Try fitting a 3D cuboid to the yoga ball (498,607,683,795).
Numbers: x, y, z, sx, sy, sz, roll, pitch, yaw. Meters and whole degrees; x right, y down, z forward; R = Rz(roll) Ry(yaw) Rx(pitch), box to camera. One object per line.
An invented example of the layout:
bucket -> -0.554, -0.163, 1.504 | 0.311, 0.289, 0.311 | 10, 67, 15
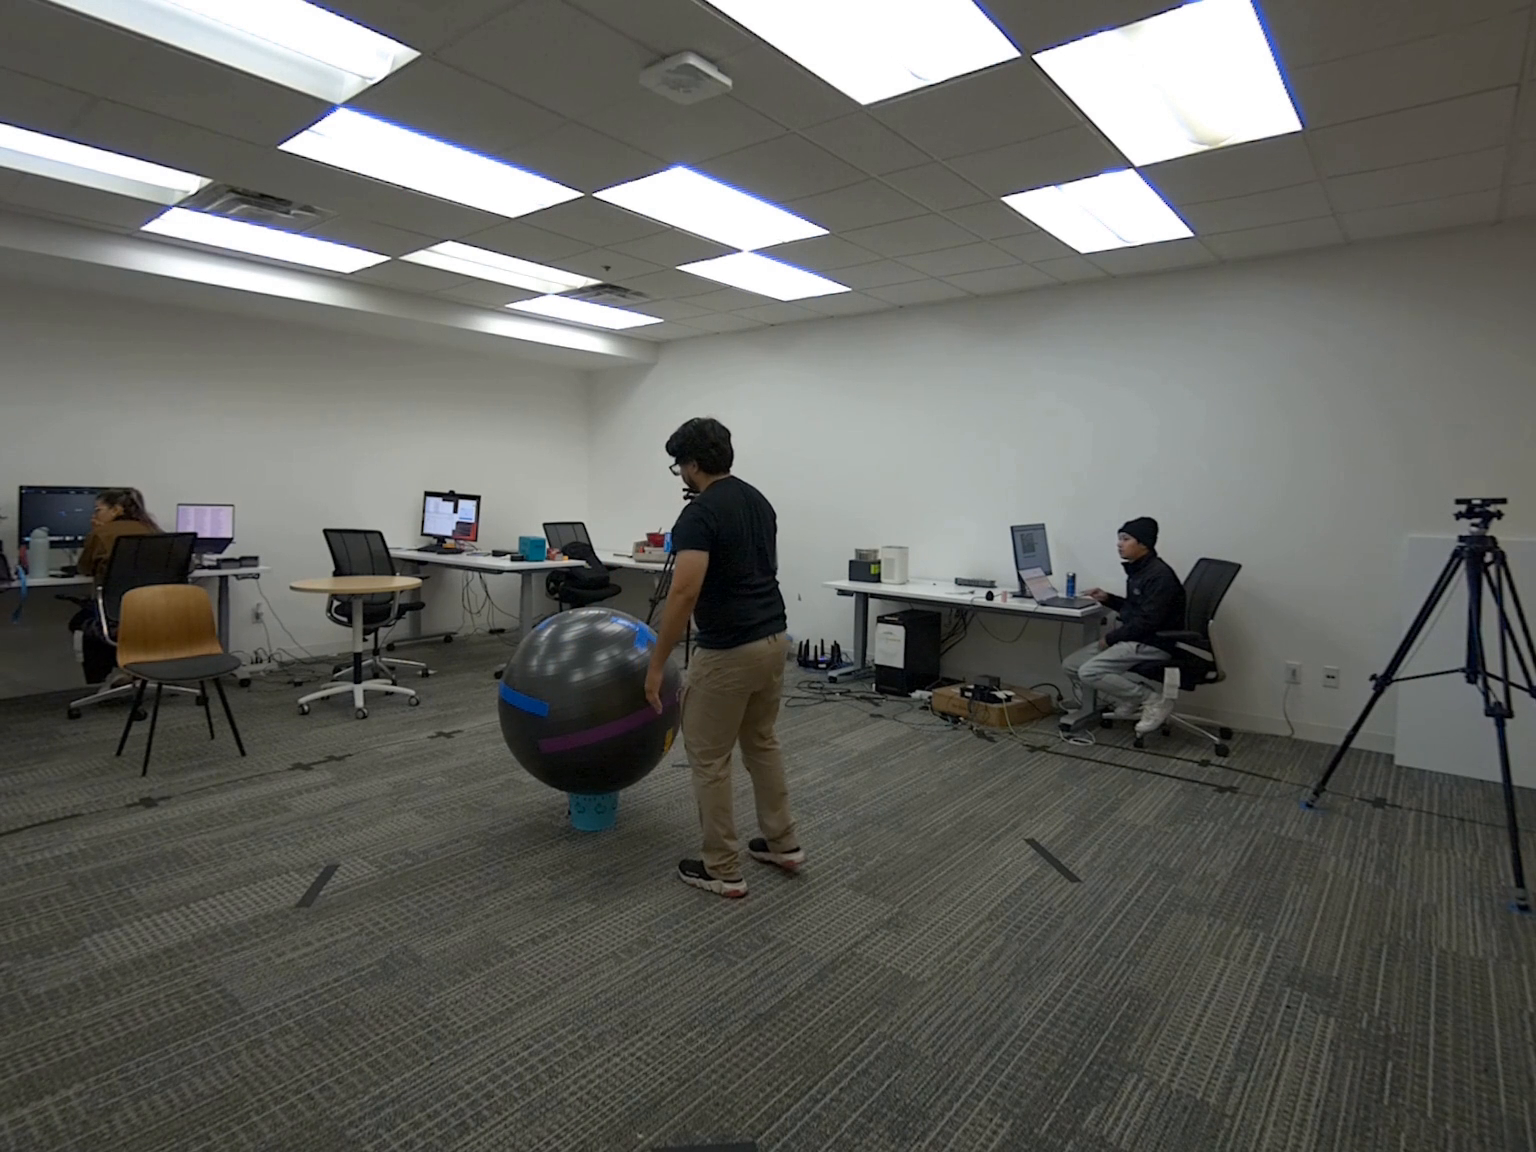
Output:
yoga ball -> -0.750, 0.521, 3.512 | 0.757, 0.756, 0.761 | 1, 4, -2
